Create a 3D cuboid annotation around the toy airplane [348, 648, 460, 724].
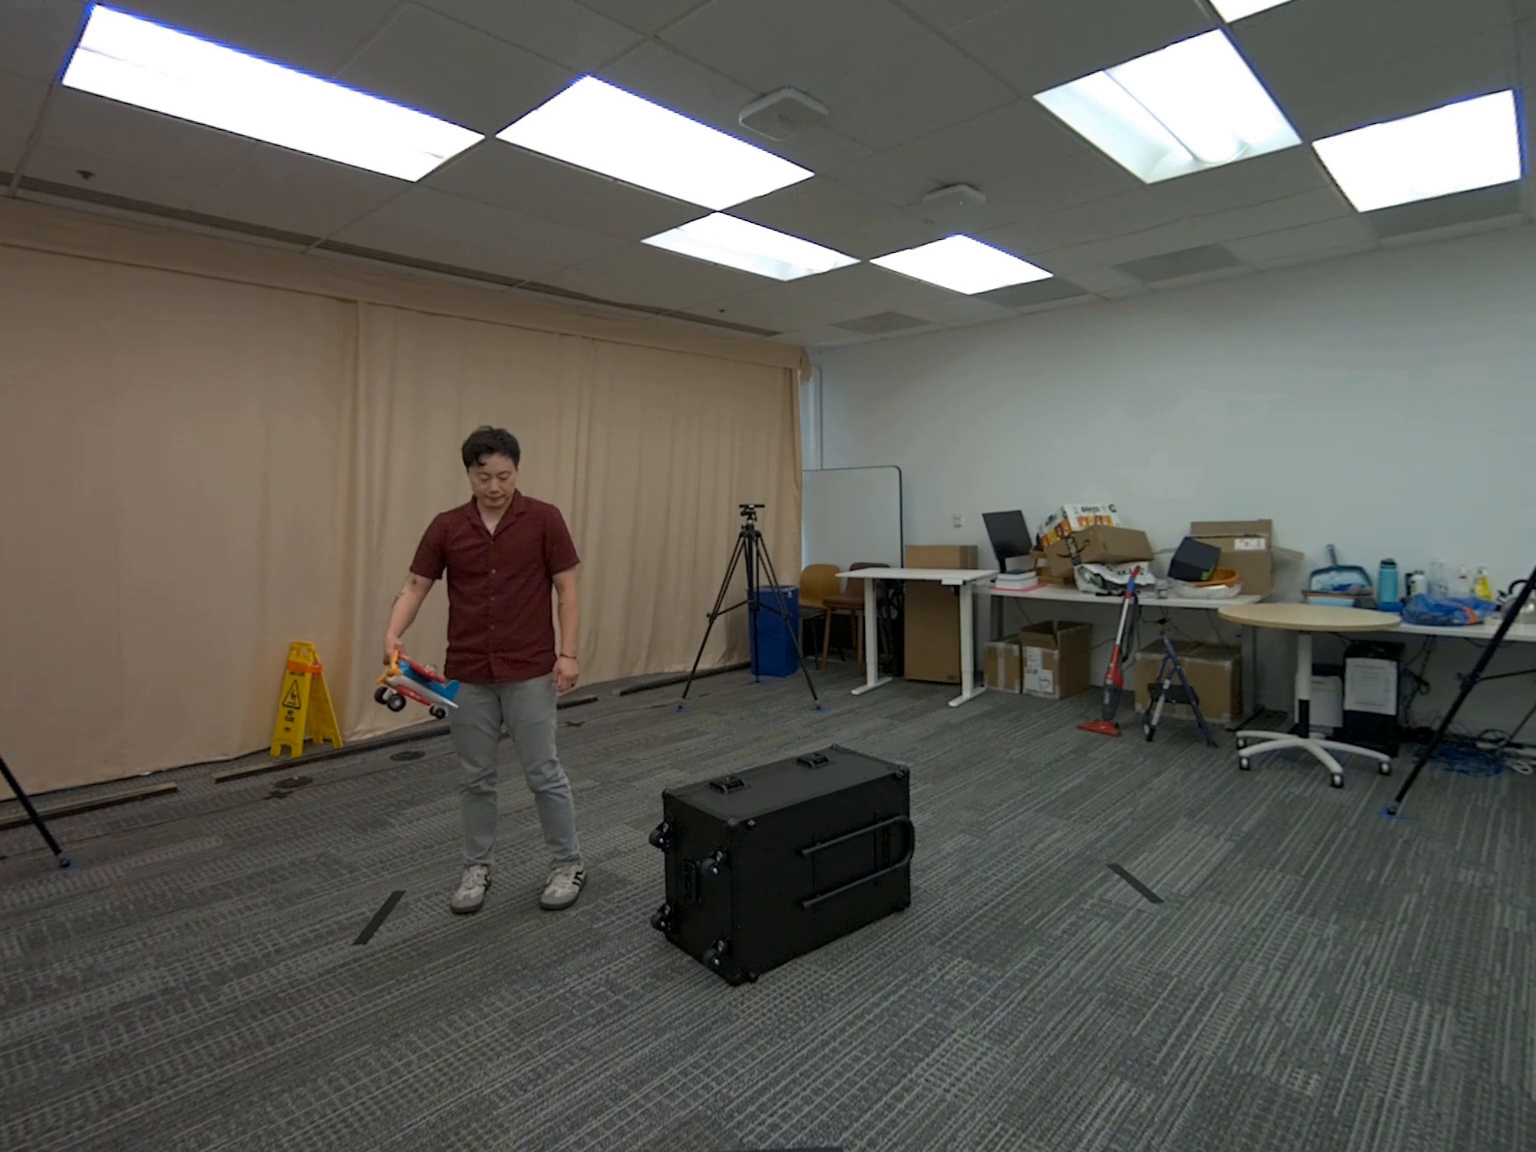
[{"bbox_3d":[-1.120,0.351,2.687,0.256,0.157,0.254,16,-6,15],"label":"toy airplane"}]
